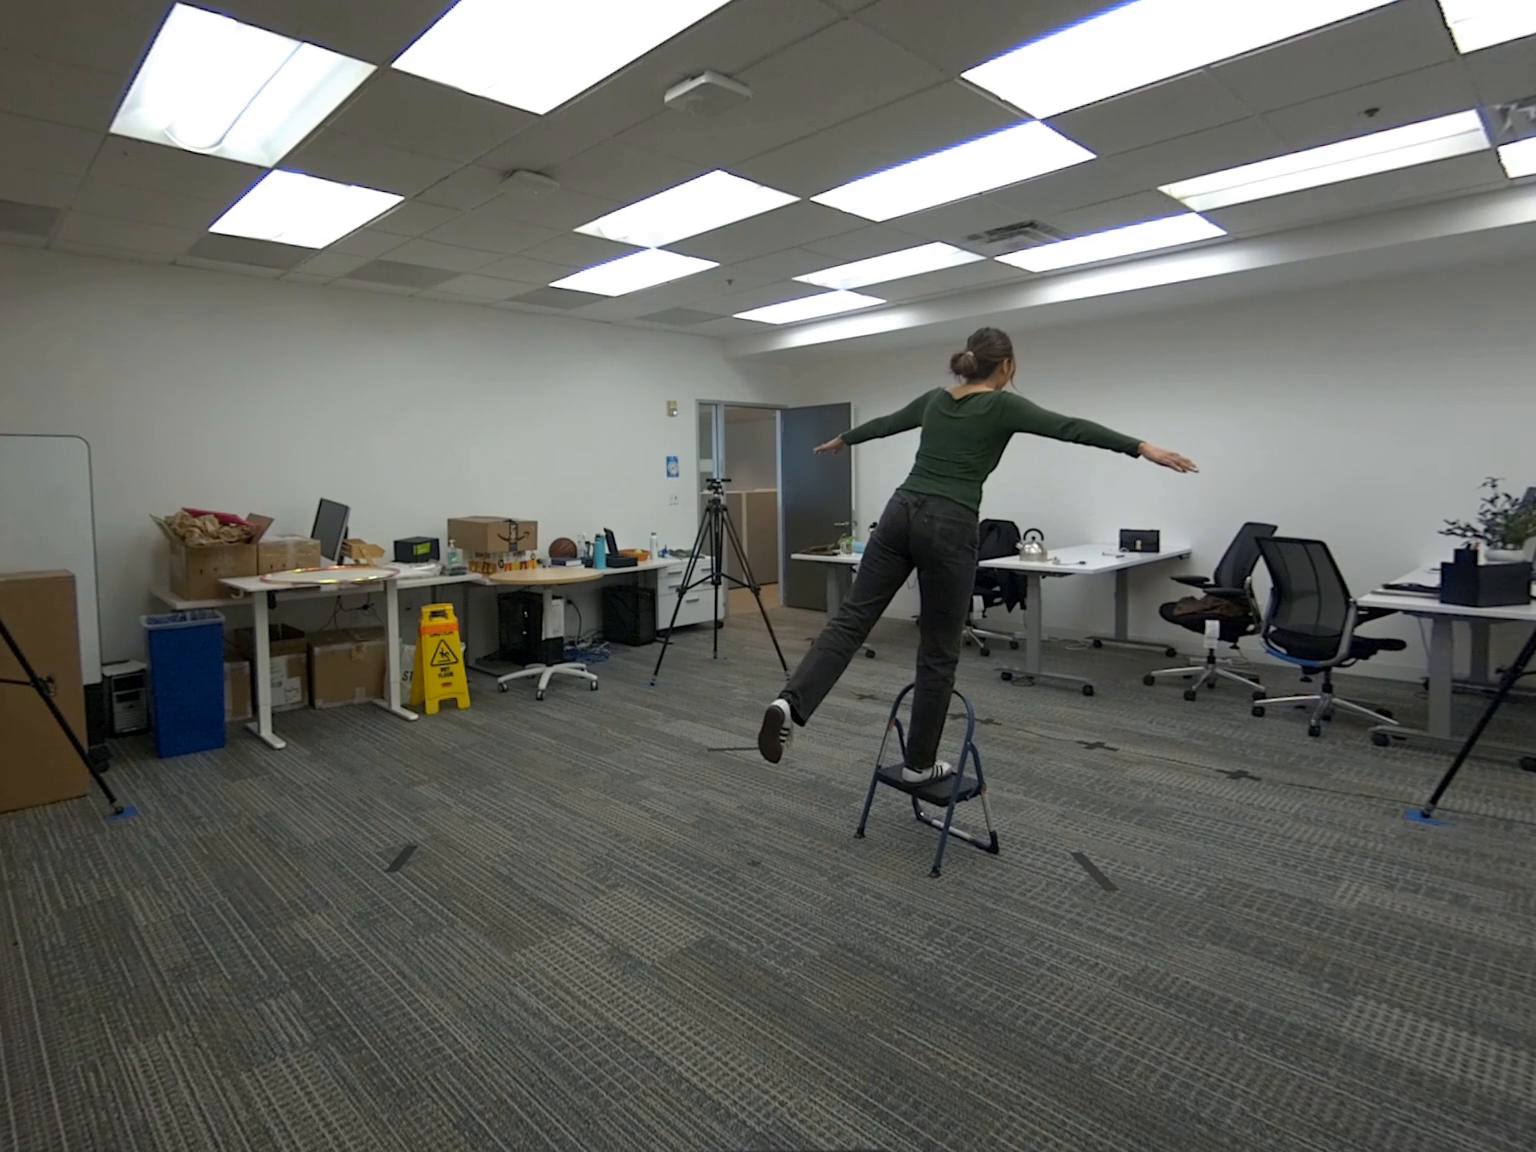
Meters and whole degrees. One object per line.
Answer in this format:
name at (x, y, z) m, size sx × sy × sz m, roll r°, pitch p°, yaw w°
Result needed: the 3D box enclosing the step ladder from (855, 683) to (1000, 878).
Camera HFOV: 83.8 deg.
step ladder at (0.594, 0.719, 3.218) m, size 0.340 × 0.604 × 0.443 m, roll -3°, pitch 5°, yaw -34°
